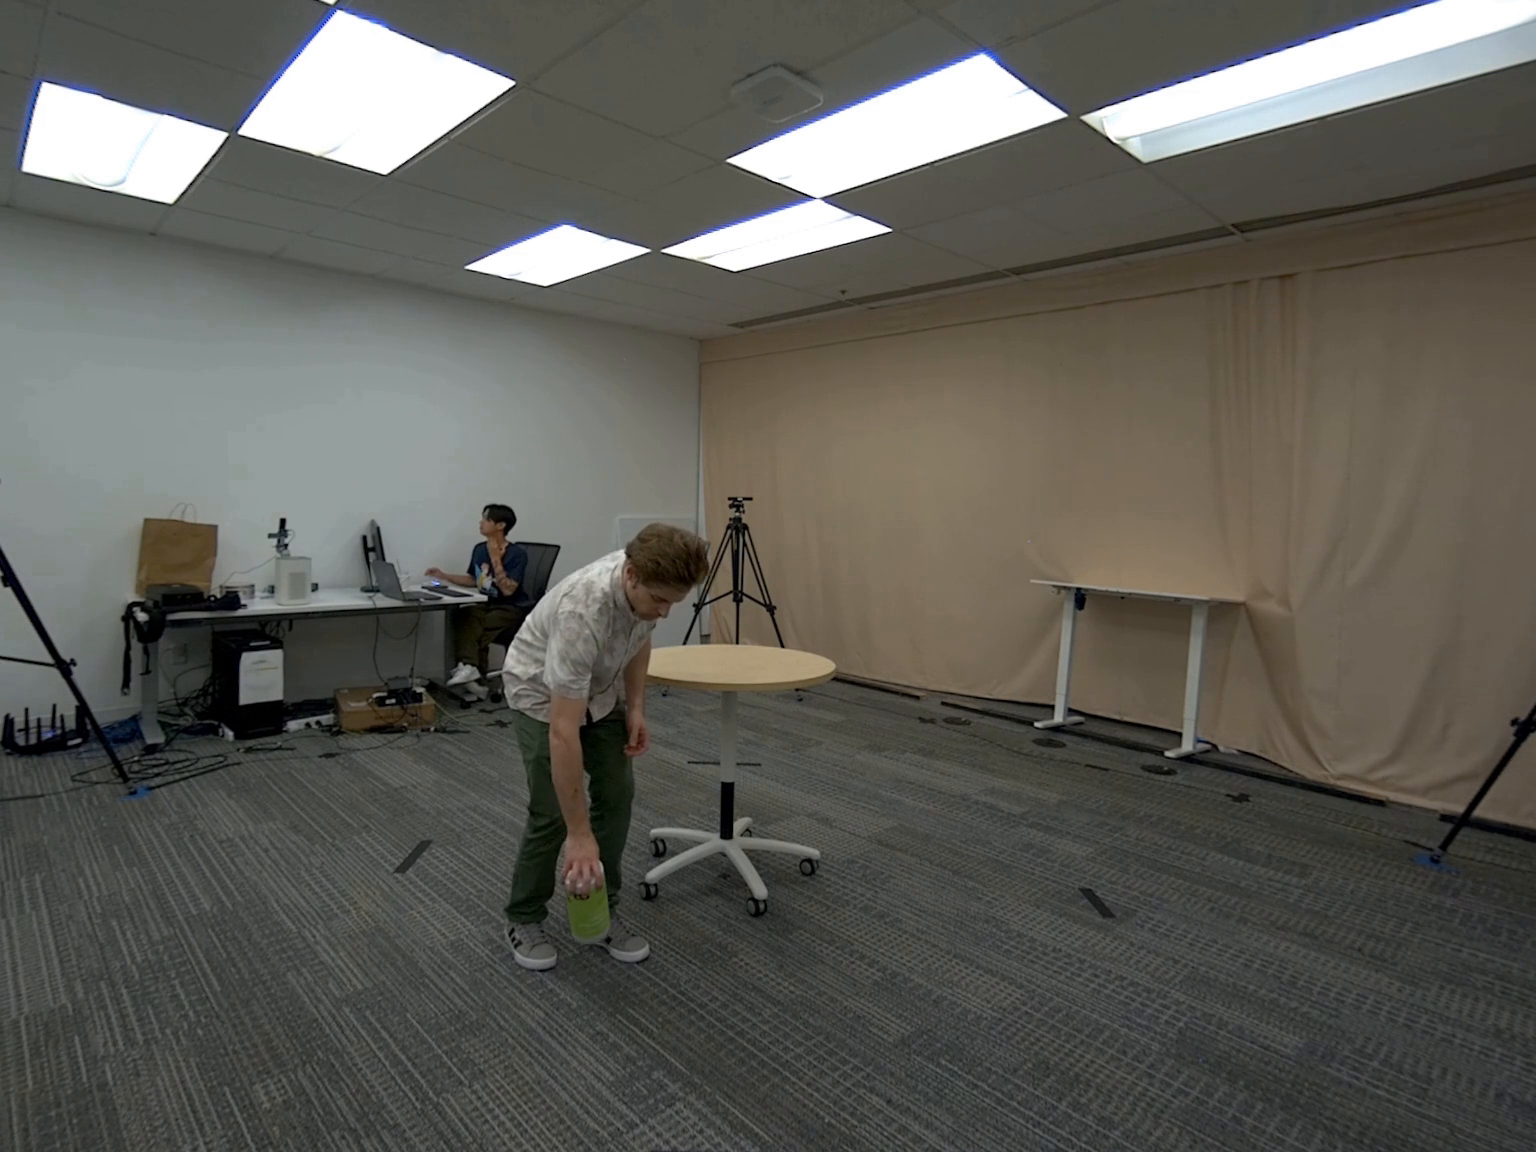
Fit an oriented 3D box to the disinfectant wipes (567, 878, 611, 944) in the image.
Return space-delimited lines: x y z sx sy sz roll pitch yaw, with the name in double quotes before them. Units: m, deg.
"disinfectant wipes" -0.502 0.887 2.322 0.118 0.214 0.119 -3 19 0
